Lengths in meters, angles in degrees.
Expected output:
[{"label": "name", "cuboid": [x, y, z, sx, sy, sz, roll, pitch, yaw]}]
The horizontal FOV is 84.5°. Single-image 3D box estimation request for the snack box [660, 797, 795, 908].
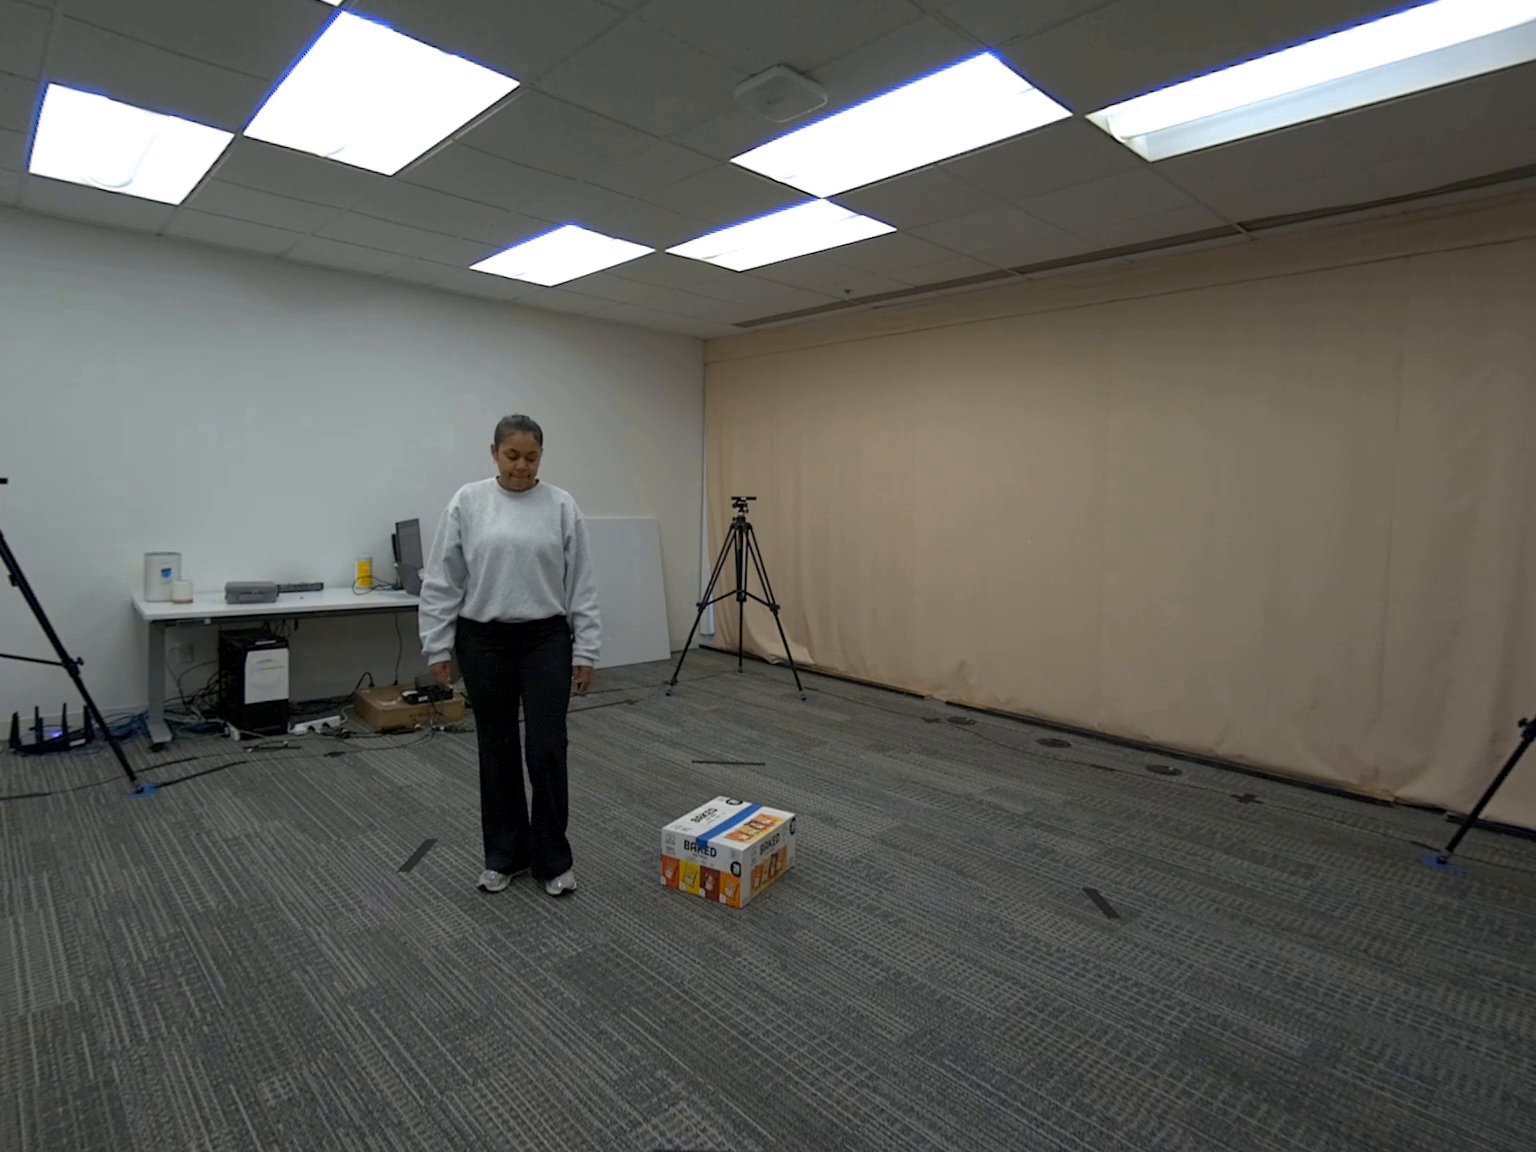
[{"label": "snack box", "cuboid": [-0.146, 1.005, 3.103, 0.348, 0.205, 0.397, 4, 6, 30]}]
